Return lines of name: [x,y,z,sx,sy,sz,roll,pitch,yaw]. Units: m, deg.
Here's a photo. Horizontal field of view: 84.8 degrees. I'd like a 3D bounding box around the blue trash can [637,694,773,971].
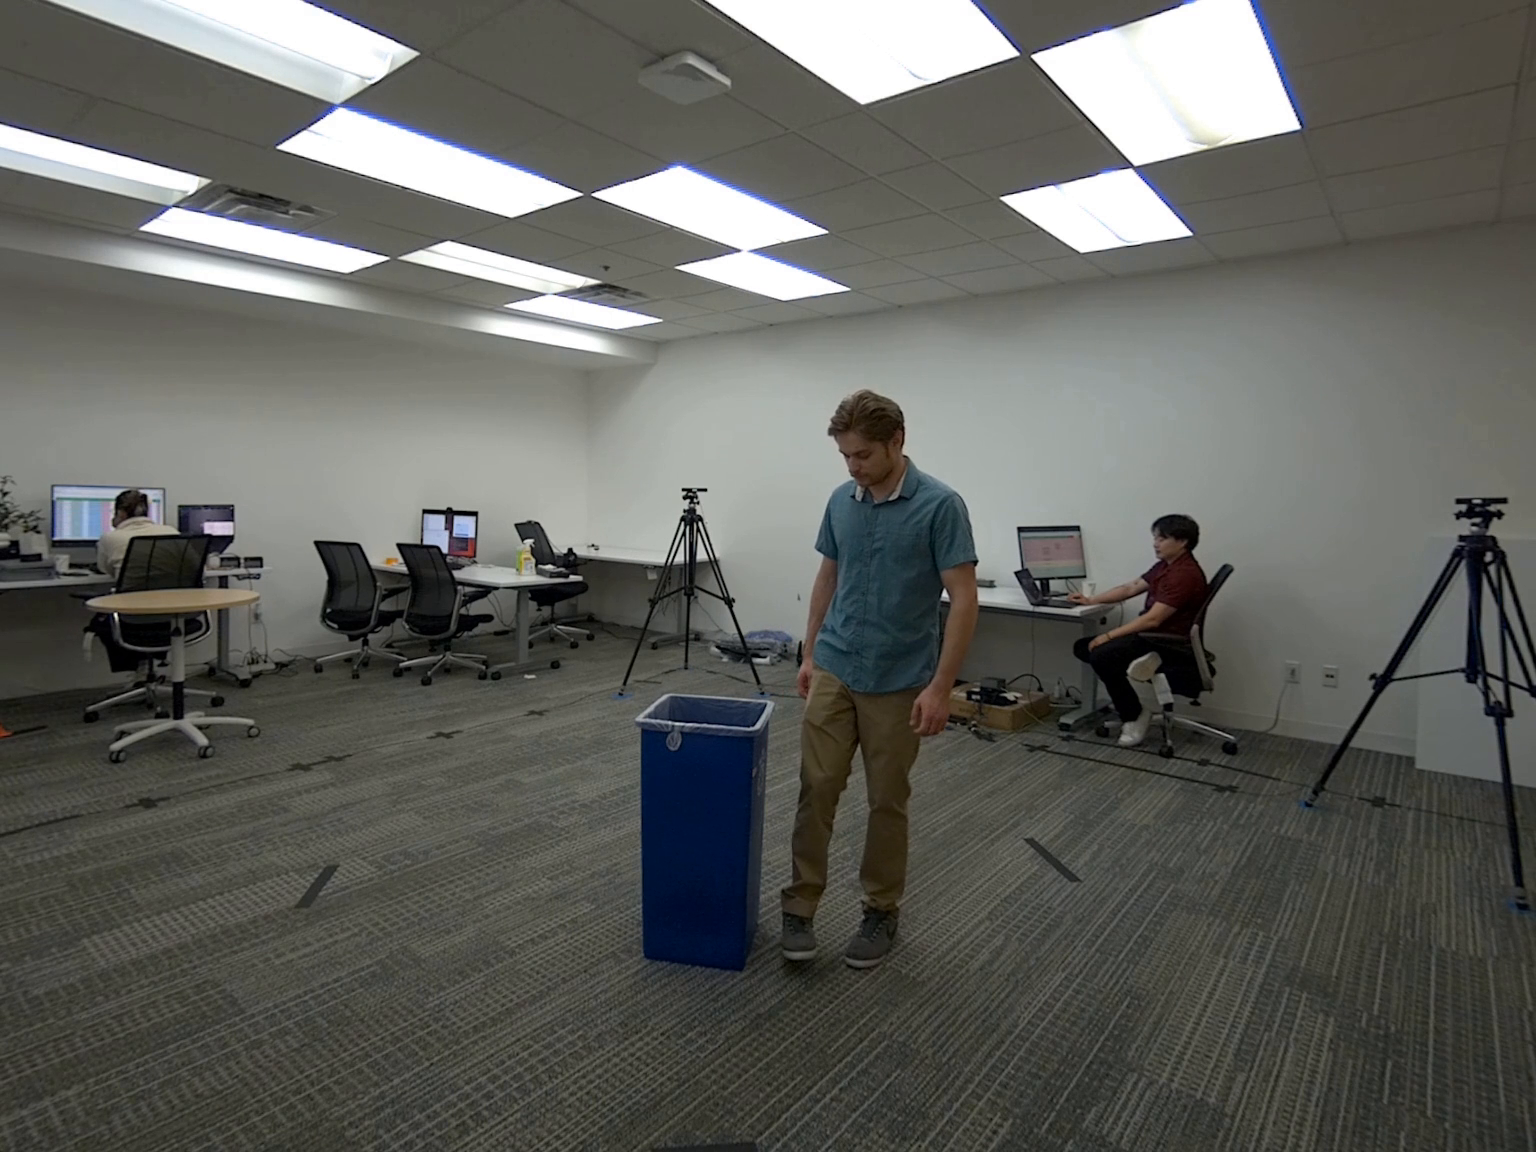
blue trash can: [-0.204,0.762,2.613,0.382,0.711,0.371,2,3,9]
